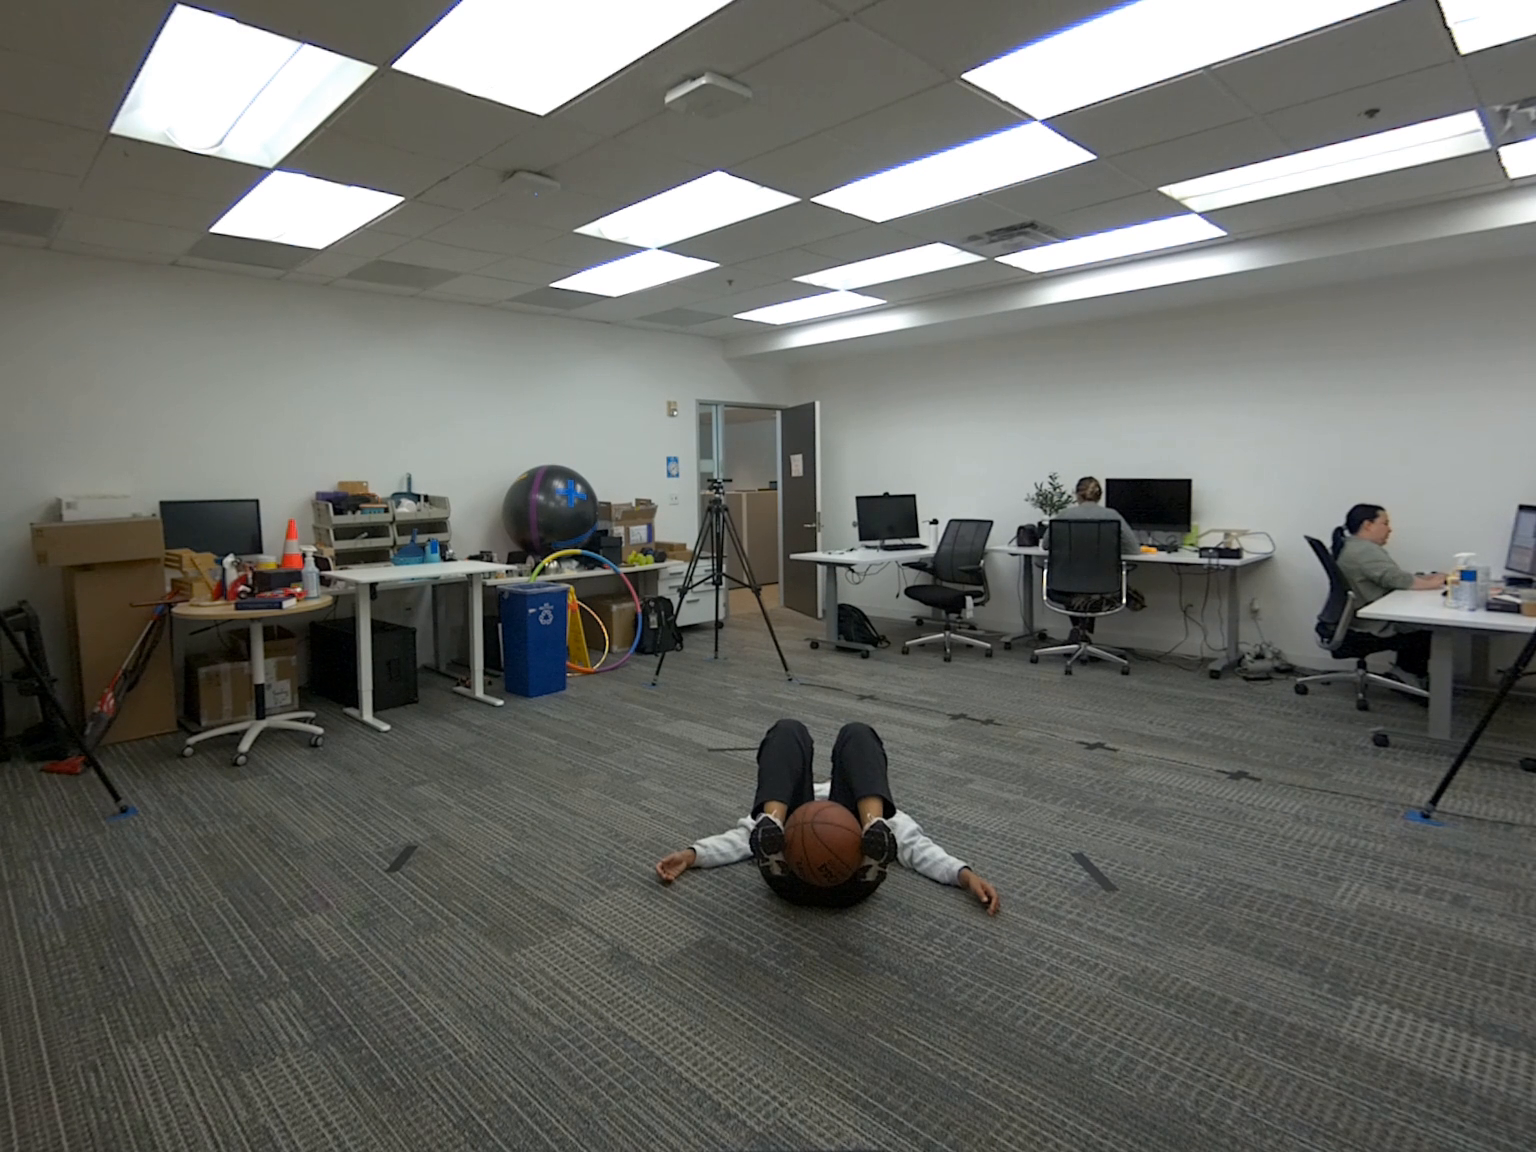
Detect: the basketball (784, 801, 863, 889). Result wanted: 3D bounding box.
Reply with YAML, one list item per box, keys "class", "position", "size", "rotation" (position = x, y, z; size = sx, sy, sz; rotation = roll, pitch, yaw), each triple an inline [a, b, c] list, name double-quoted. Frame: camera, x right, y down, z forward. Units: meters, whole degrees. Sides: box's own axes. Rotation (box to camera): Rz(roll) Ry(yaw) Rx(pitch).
- class: "basketball"
  position: [0.160, 0.770, 2.509]
  size: [0.236, 0.235, 0.236]
  rotation: [-4, 2, -2]
